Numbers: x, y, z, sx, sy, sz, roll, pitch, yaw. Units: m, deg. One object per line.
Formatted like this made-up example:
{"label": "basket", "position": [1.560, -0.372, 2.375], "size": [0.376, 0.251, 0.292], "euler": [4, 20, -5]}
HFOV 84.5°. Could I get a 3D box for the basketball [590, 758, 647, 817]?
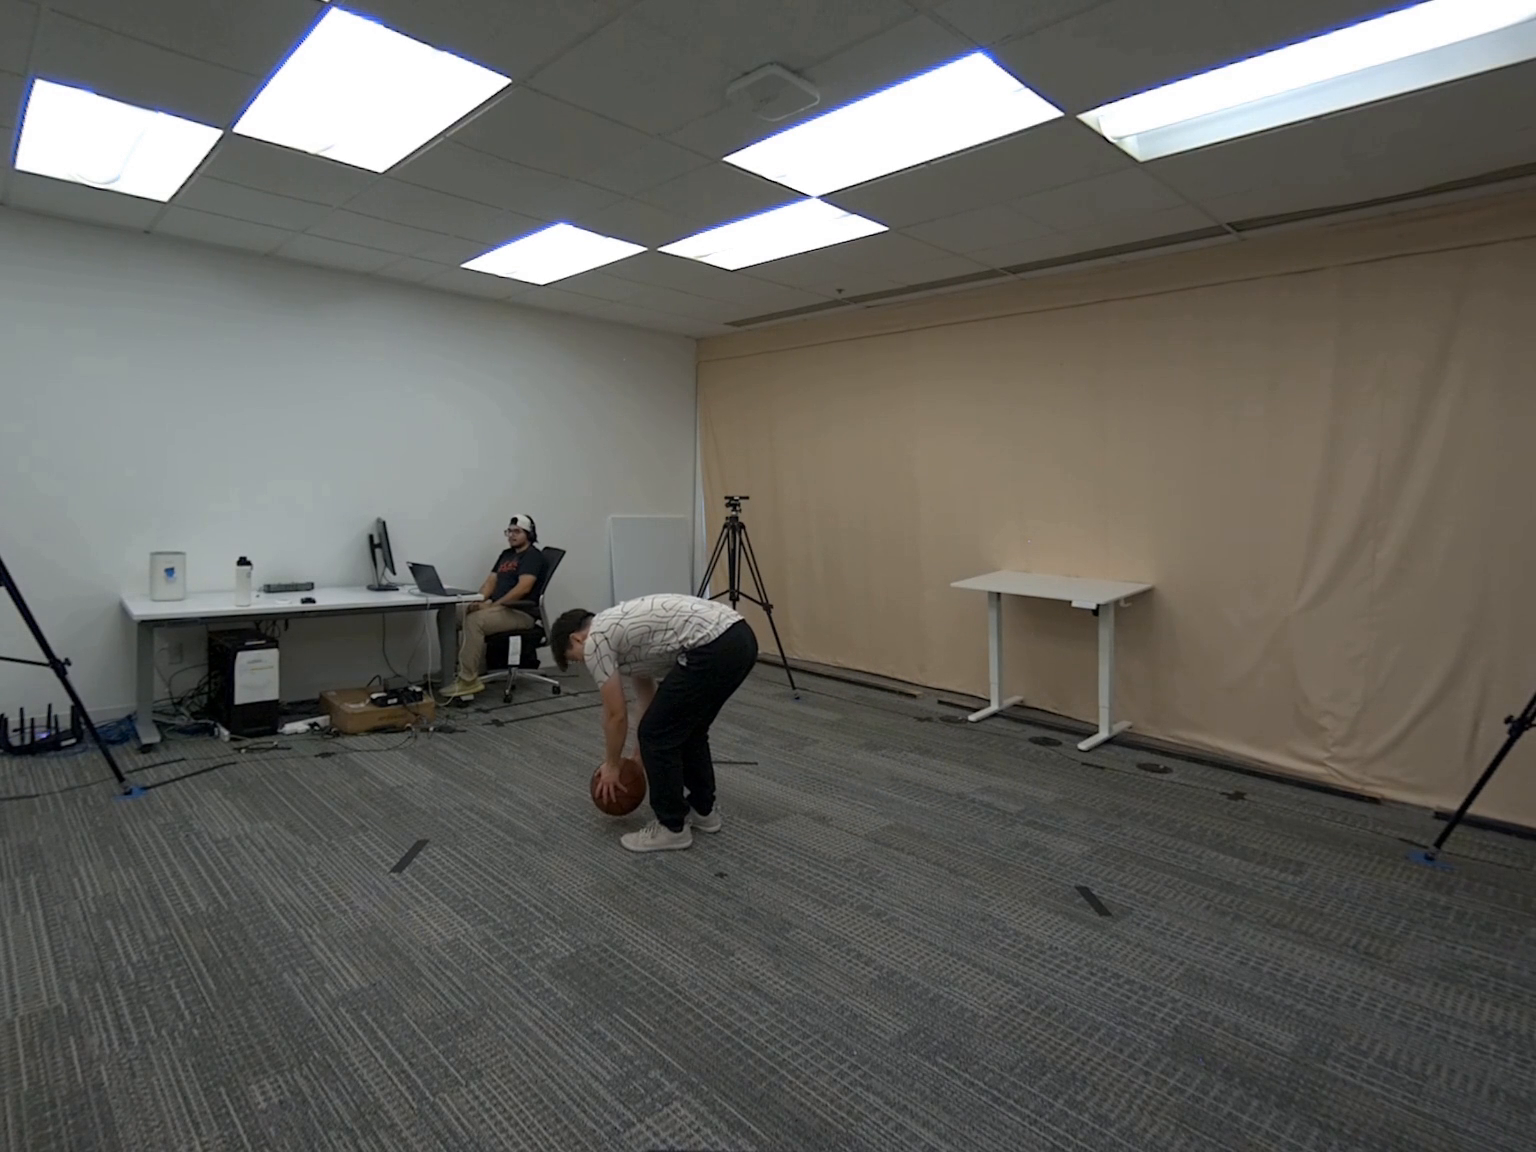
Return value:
{"label": "basketball", "position": [-0.637, 0.881, 3.553], "size": [0.236, 0.235, 0.237], "euler": [1, 4, -1]}
